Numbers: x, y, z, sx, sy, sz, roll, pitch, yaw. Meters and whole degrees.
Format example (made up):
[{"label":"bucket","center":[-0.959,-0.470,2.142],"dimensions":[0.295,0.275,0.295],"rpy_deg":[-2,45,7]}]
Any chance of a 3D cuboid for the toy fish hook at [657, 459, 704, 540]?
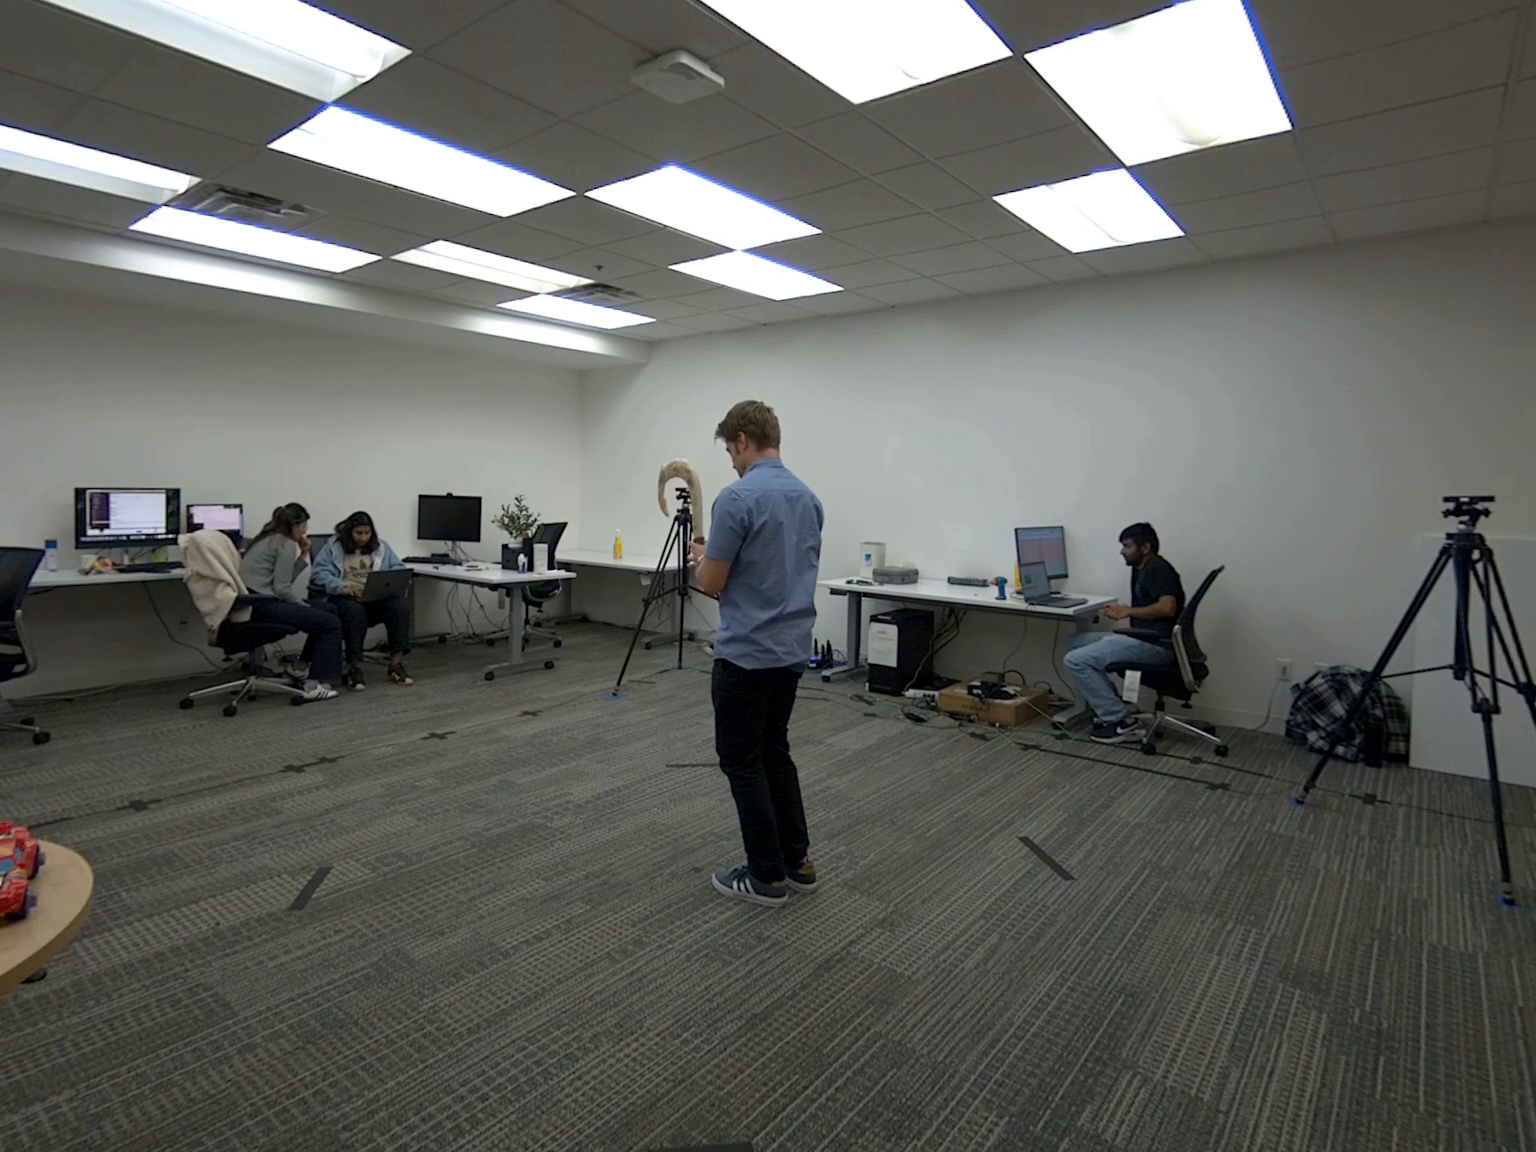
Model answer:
[{"label":"toy fish hook","center":[-0.313,-0.186,3.169],"dimensions":[0.229,0.510,0.047],"rpy_deg":[-19,-7,42]}]
